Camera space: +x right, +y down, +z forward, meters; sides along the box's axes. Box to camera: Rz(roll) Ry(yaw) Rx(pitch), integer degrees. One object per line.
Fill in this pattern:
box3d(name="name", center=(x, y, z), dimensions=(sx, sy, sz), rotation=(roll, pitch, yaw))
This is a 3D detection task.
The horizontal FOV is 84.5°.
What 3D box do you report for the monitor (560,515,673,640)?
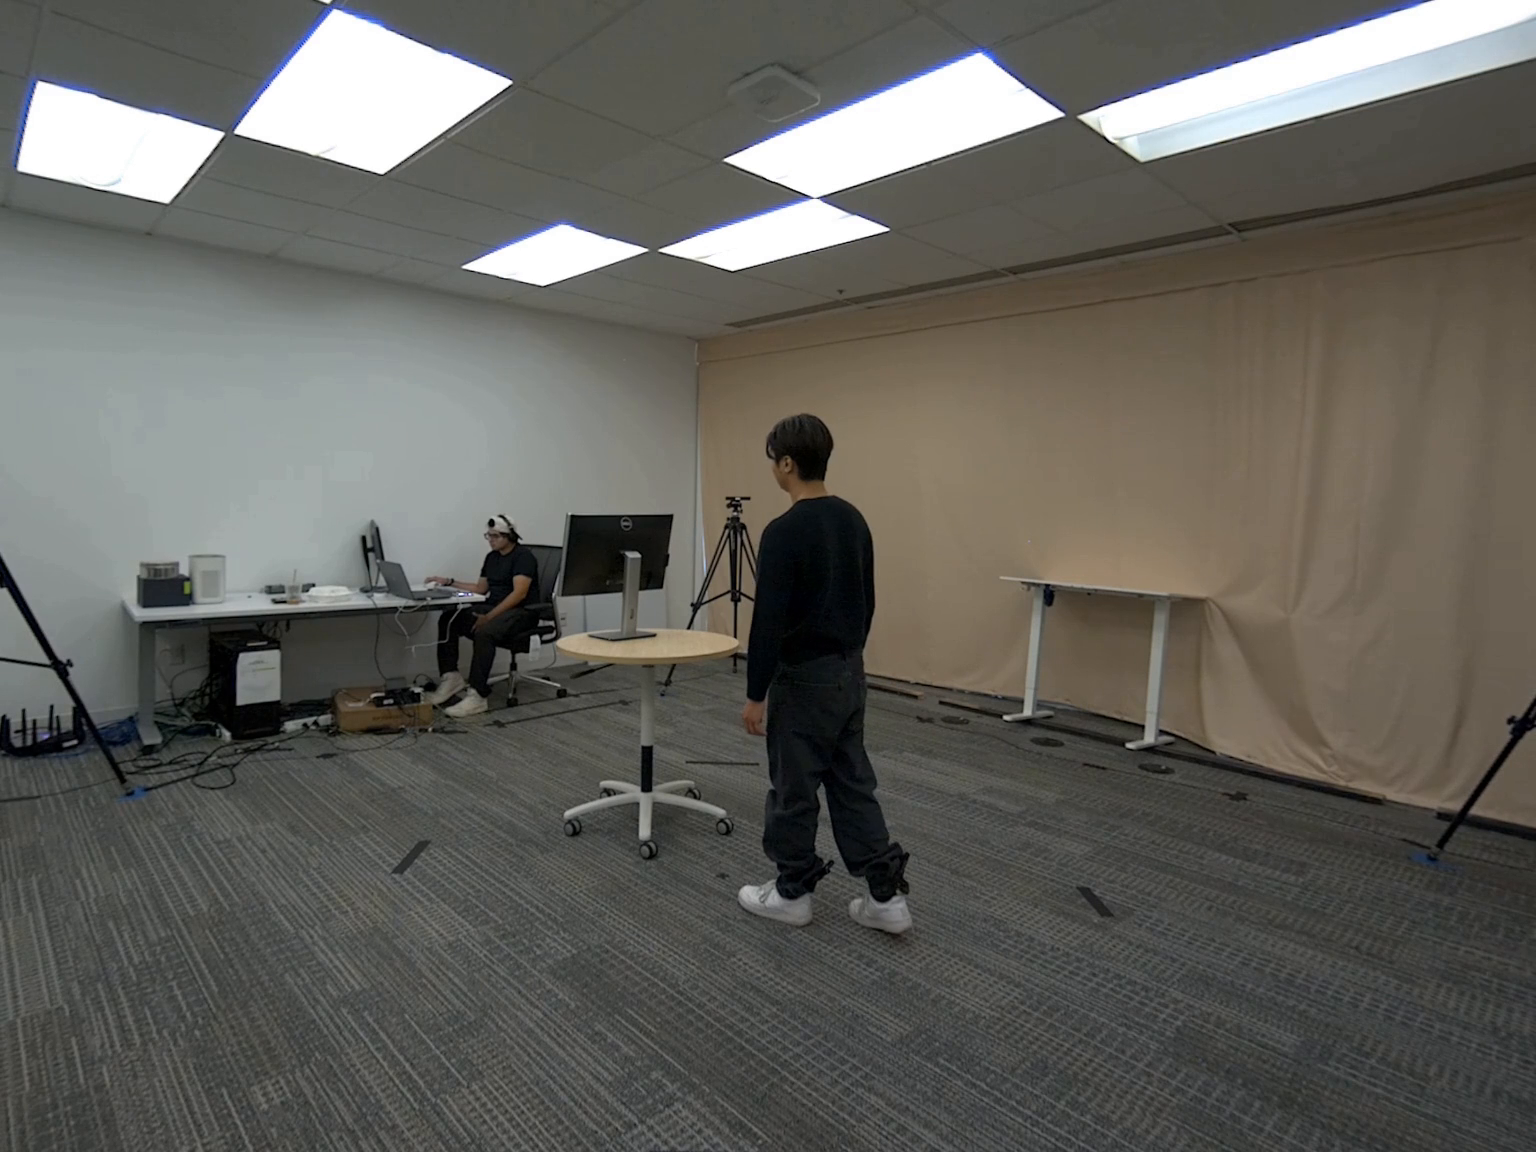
box3d(name="monitor", center=(-0.649, 0.001, 3.684), dimensions=(0.192, 0.522, 0.527), rotation=(2, 3, 43))
